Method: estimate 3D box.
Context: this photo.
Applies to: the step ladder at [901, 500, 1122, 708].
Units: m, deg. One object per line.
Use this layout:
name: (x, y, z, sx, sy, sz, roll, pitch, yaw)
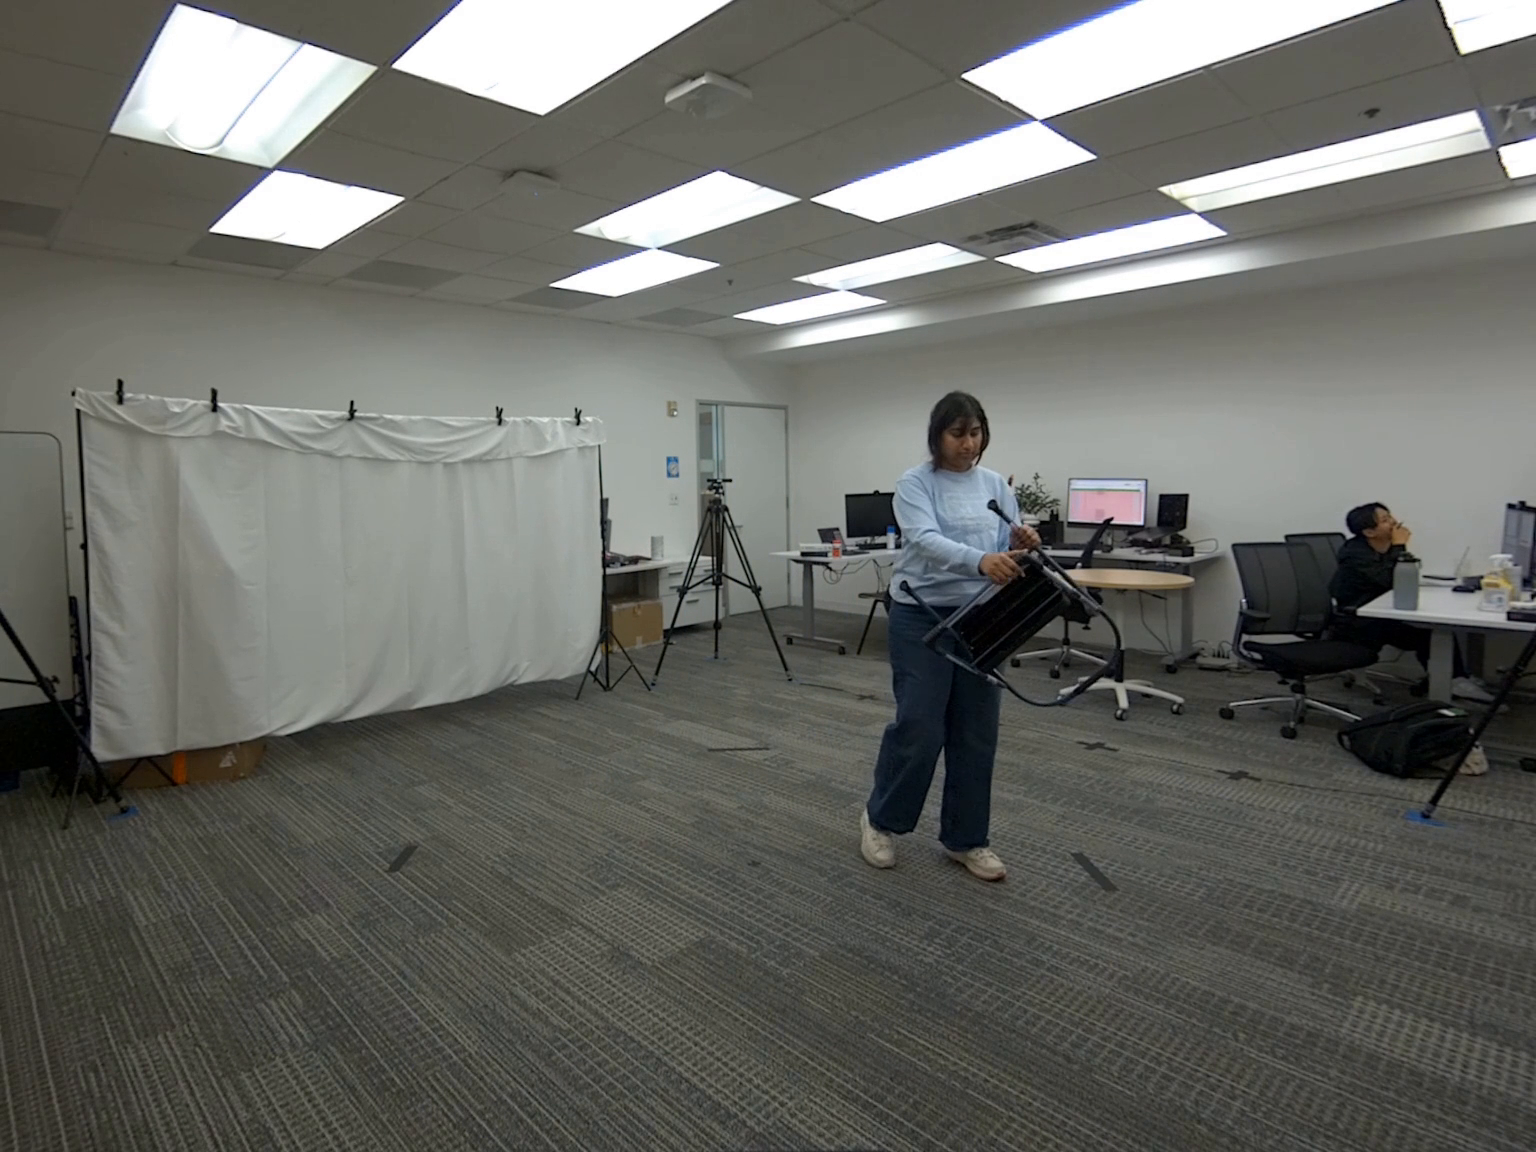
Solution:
step ladder: (0.823, 0.151, 2.753, 0.593, 0.430, 0.357, 35, 24, -17)
